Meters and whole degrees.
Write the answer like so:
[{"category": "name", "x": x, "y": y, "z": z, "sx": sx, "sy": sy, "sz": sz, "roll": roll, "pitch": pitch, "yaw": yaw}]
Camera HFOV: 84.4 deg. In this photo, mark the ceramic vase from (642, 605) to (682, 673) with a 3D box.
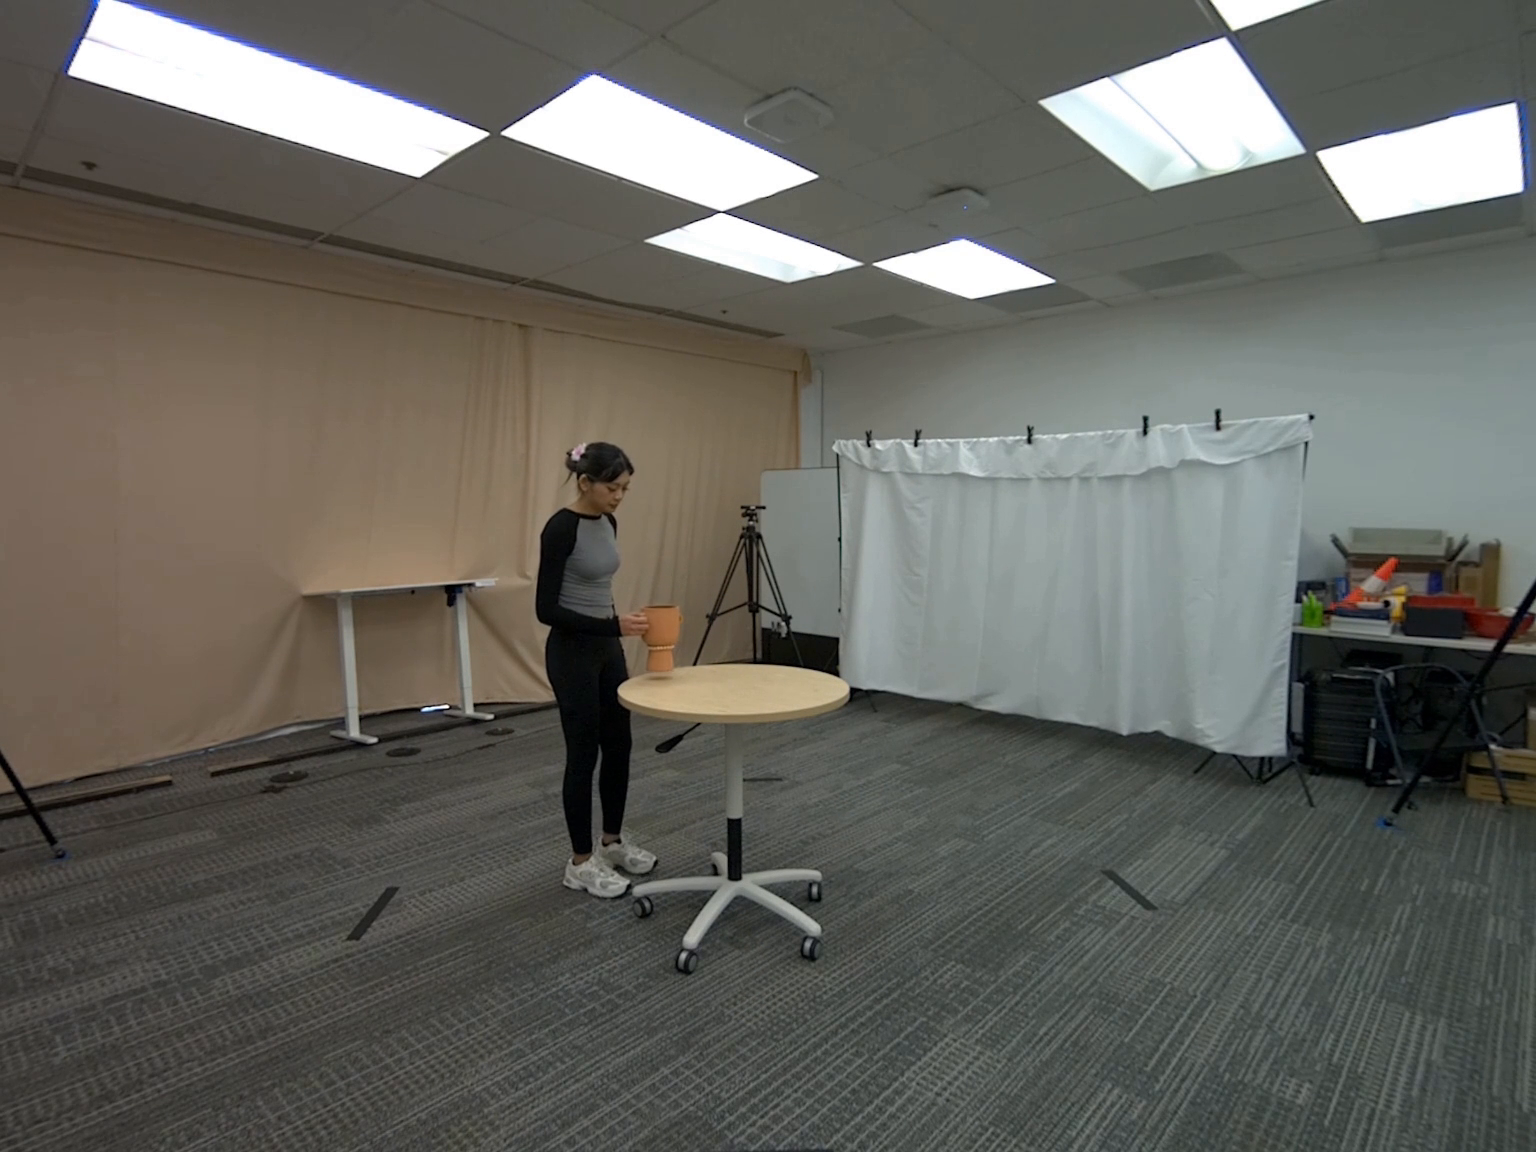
[{"category": "ceramic vase", "x": -0.374, "y": 0.224, "z": 2.929, "sx": 0.158, "sy": 0.219, "sz": 0.135, "roll": 0, "pitch": 1, "yaw": -6}]
